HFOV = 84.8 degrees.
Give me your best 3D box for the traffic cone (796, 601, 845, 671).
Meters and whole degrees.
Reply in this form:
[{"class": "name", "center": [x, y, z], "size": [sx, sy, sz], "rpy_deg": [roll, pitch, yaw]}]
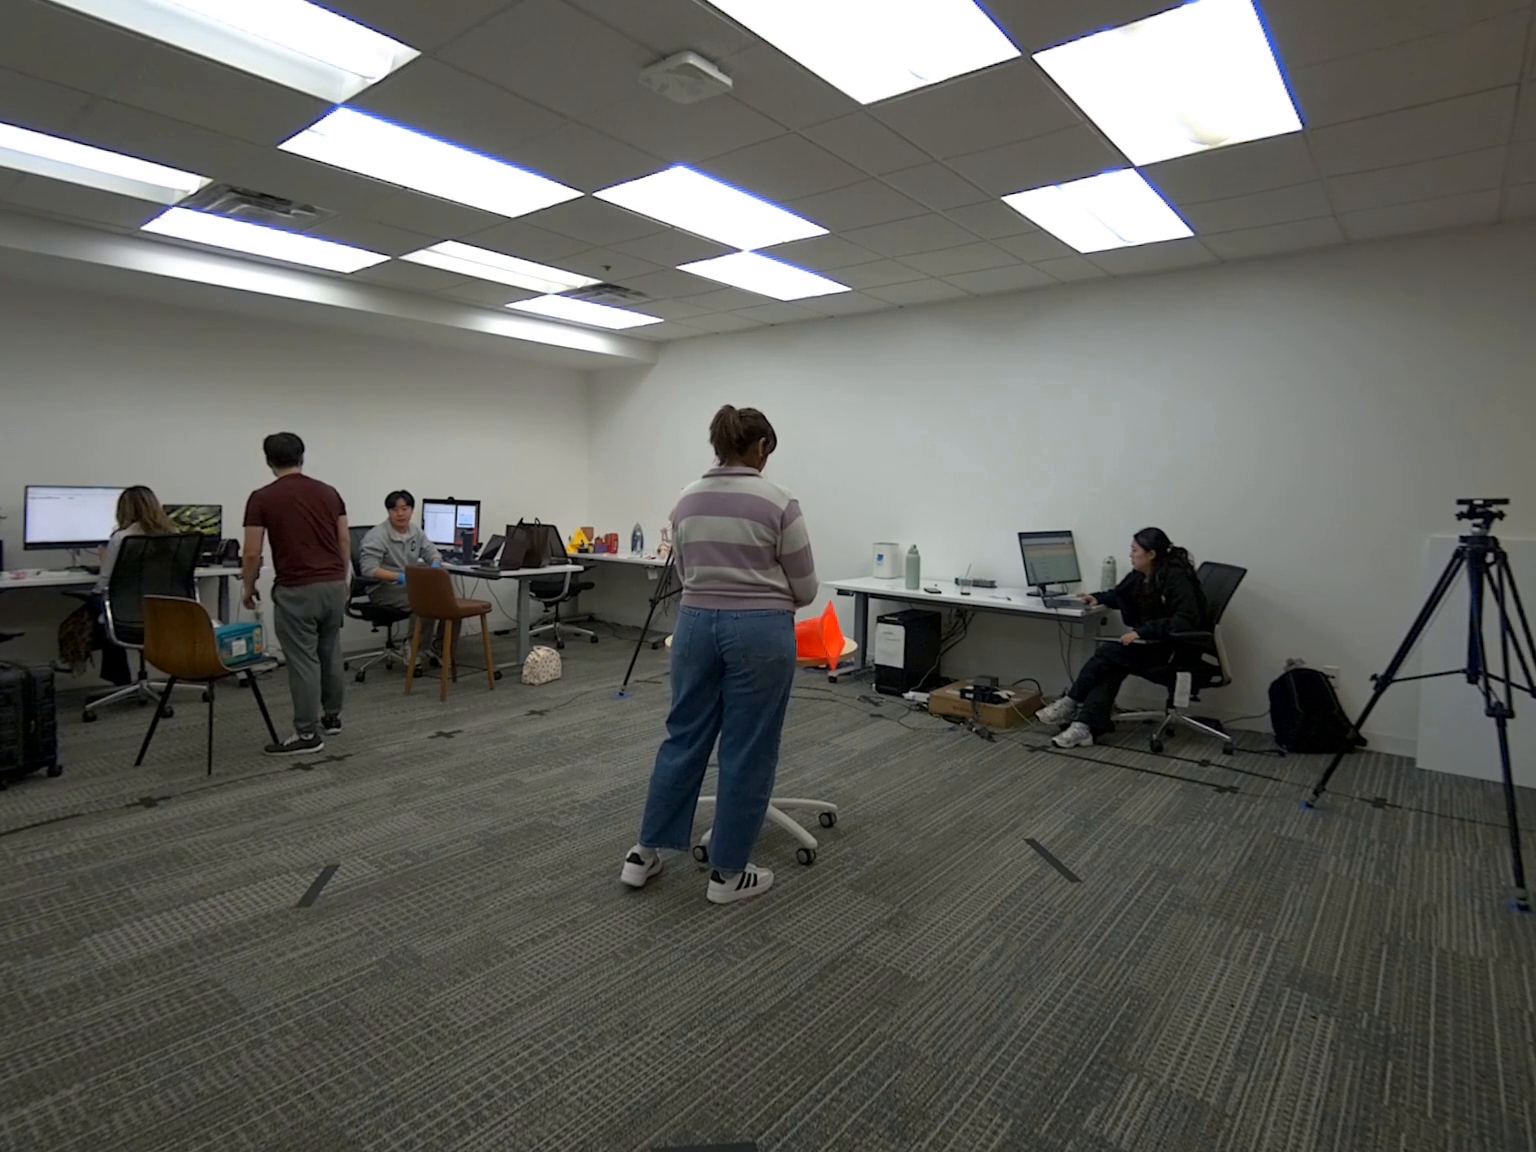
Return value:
[{"class": "traffic cone", "center": [0.053, 0.241, 3.179], "size": [0.392, 0.200, 0.204], "rpy_deg": [-9, 23, 26]}]
